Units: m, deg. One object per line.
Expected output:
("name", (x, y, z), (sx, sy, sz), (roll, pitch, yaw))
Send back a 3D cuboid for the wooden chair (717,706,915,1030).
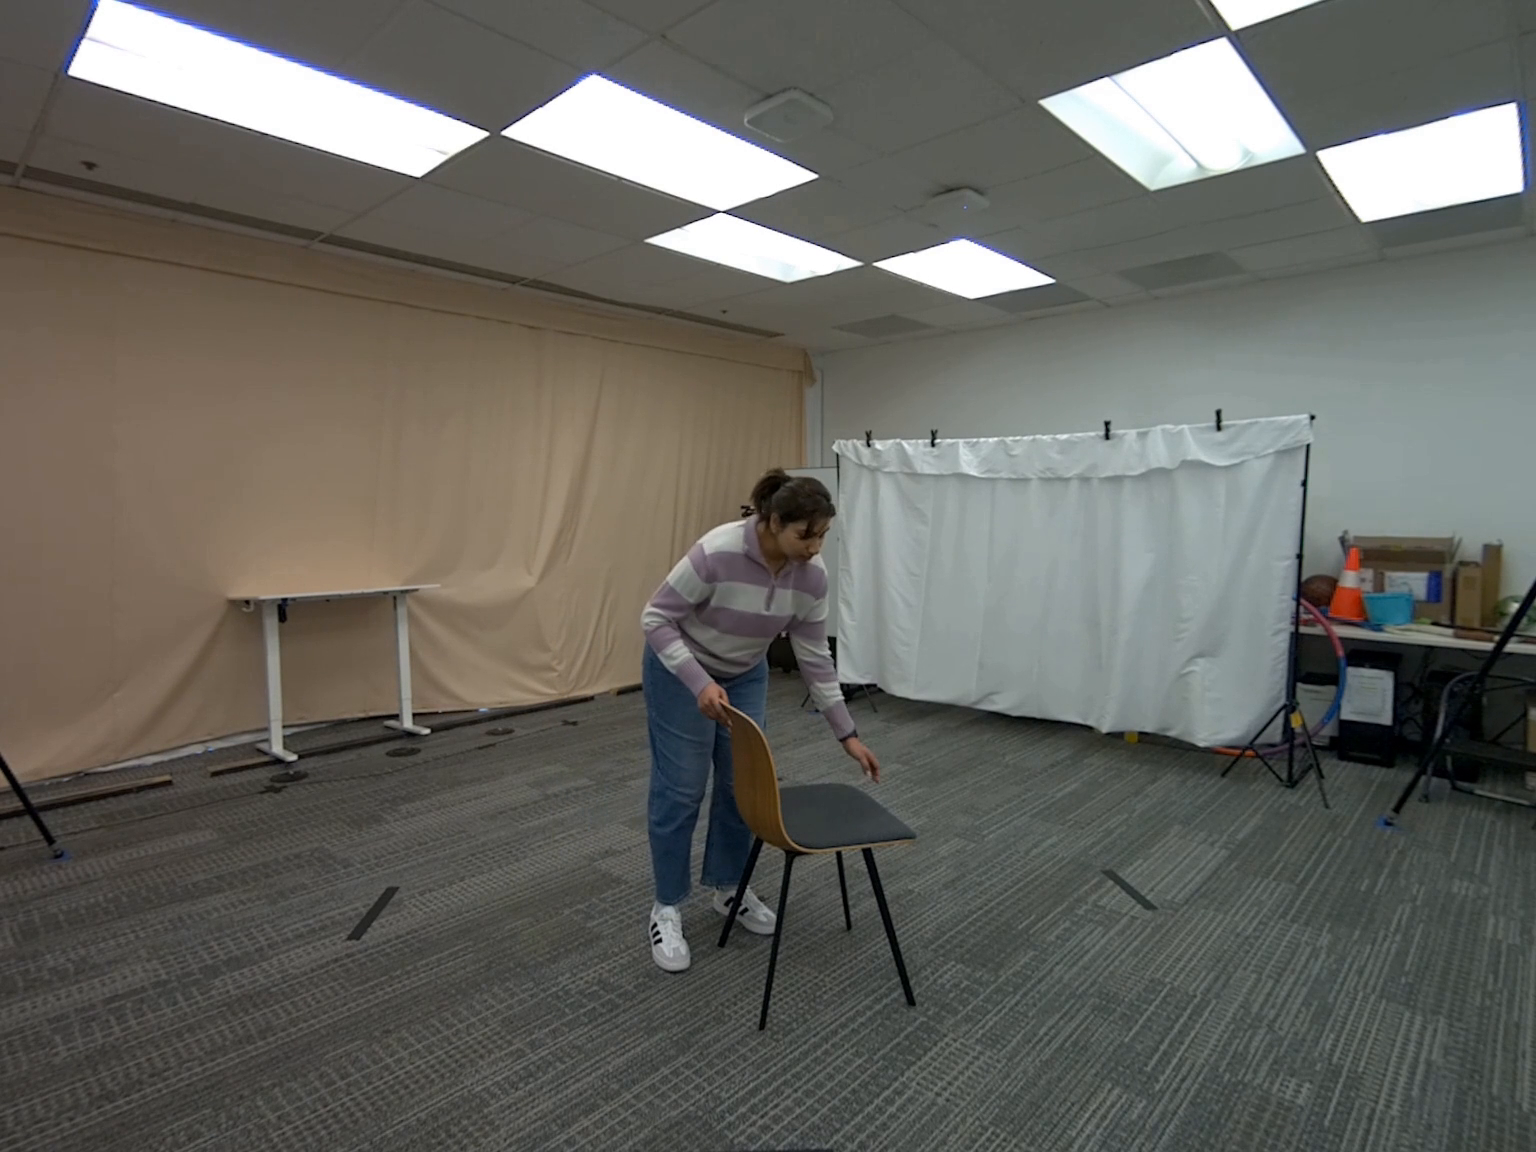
("wooden chair", (0.142, 0.763, 2.477), (0.515, 0.875, 0.487), (-5, 4, -17))
